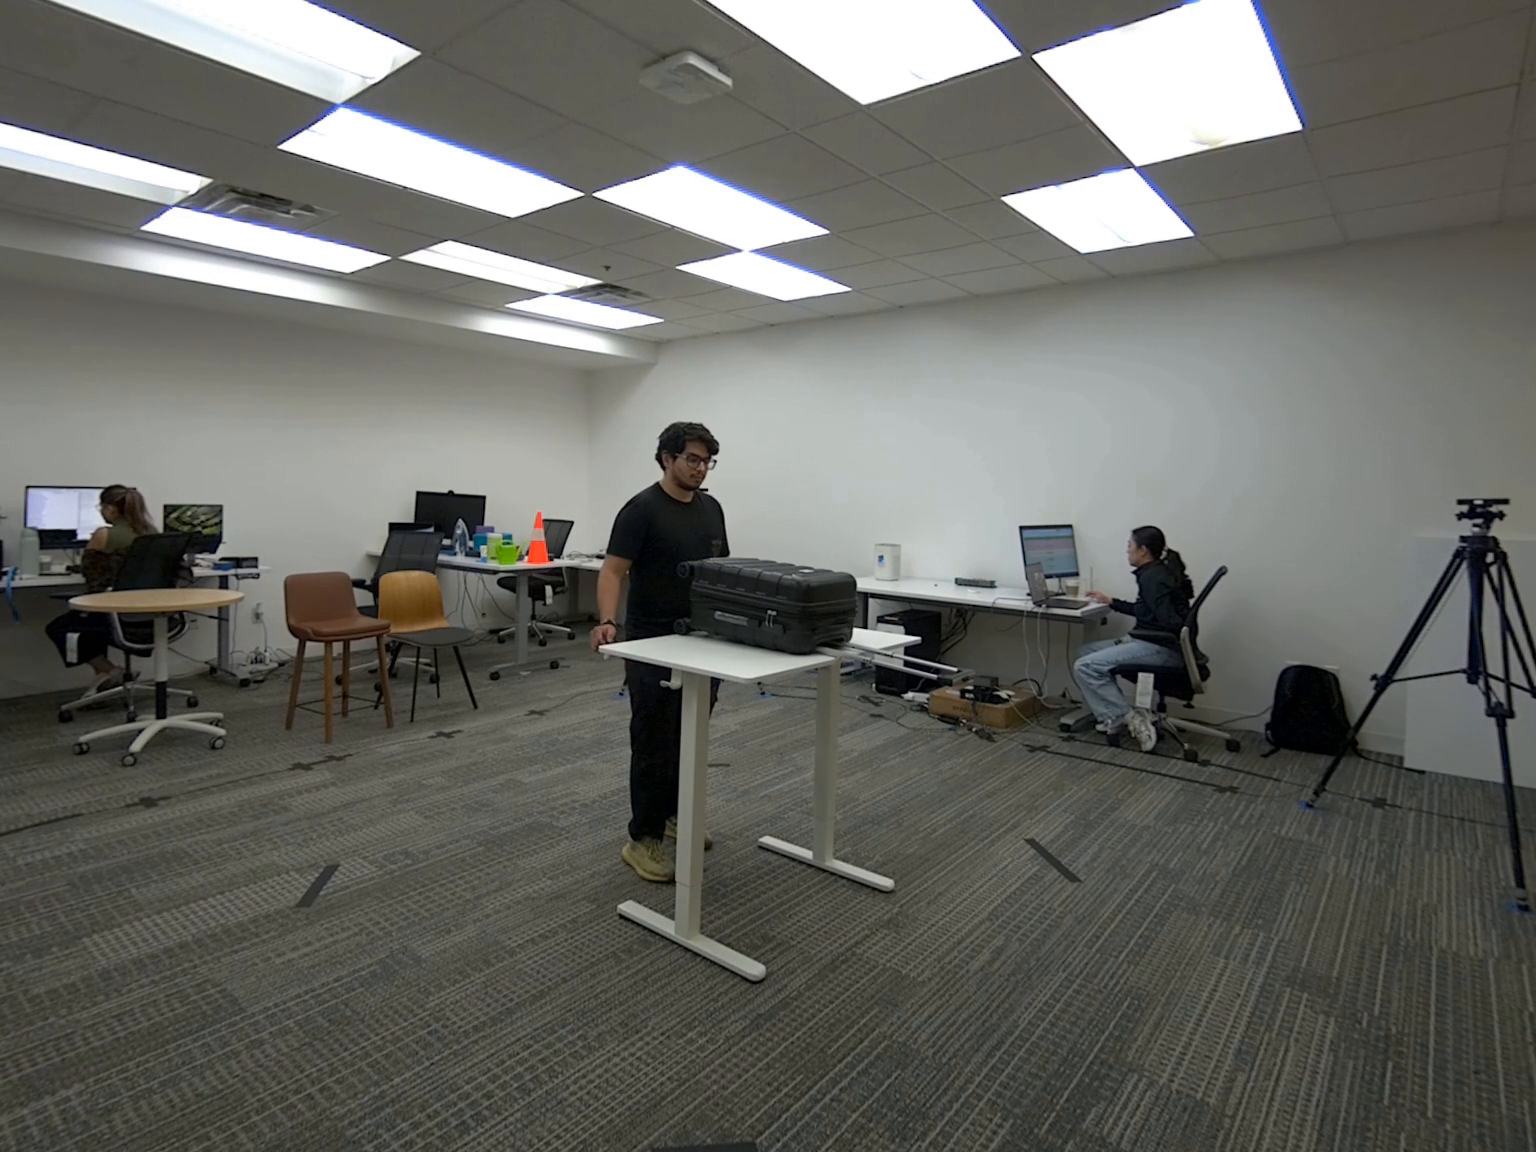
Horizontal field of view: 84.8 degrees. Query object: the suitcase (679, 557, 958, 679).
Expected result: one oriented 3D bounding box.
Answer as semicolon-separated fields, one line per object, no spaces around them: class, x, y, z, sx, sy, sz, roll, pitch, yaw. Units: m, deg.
suitcase;0.158;0.113;2.724;1.013;0.256;0.372;8;6;39
